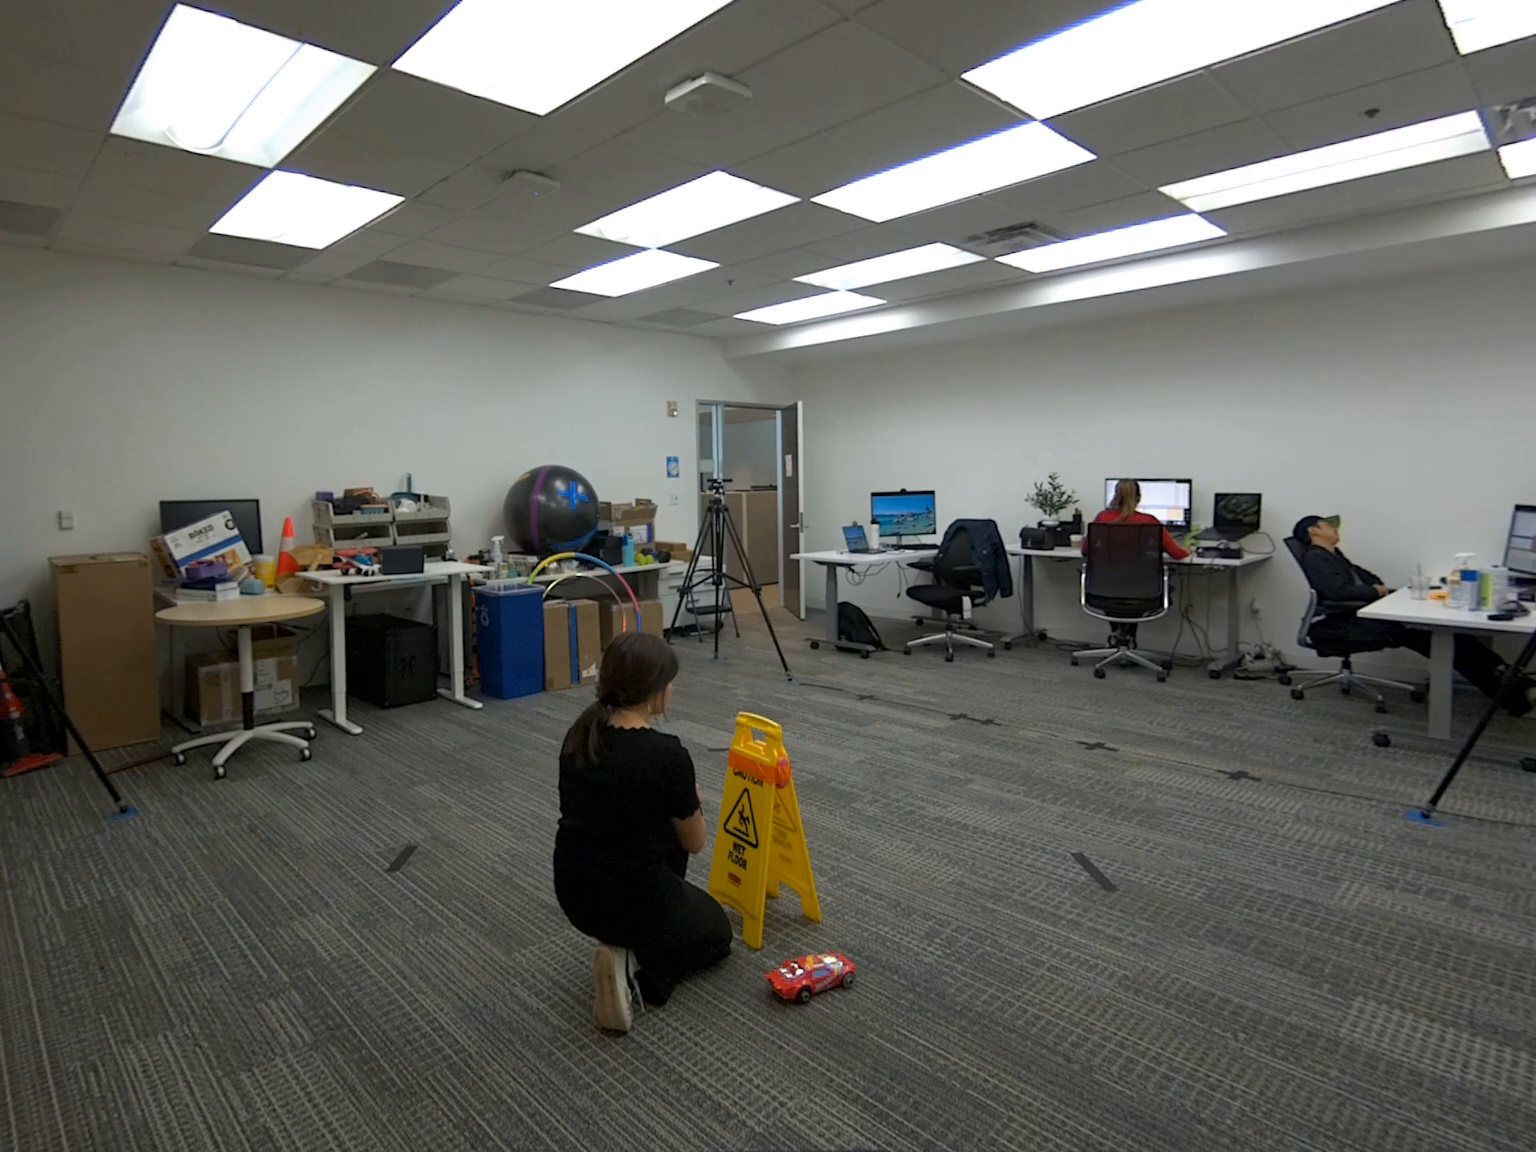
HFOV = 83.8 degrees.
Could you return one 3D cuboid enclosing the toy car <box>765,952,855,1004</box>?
[{"bbox_3d":[0.107,1.094,2.344,0.248,0.083,0.134,8,1,-28],"label":"toy car"}]
